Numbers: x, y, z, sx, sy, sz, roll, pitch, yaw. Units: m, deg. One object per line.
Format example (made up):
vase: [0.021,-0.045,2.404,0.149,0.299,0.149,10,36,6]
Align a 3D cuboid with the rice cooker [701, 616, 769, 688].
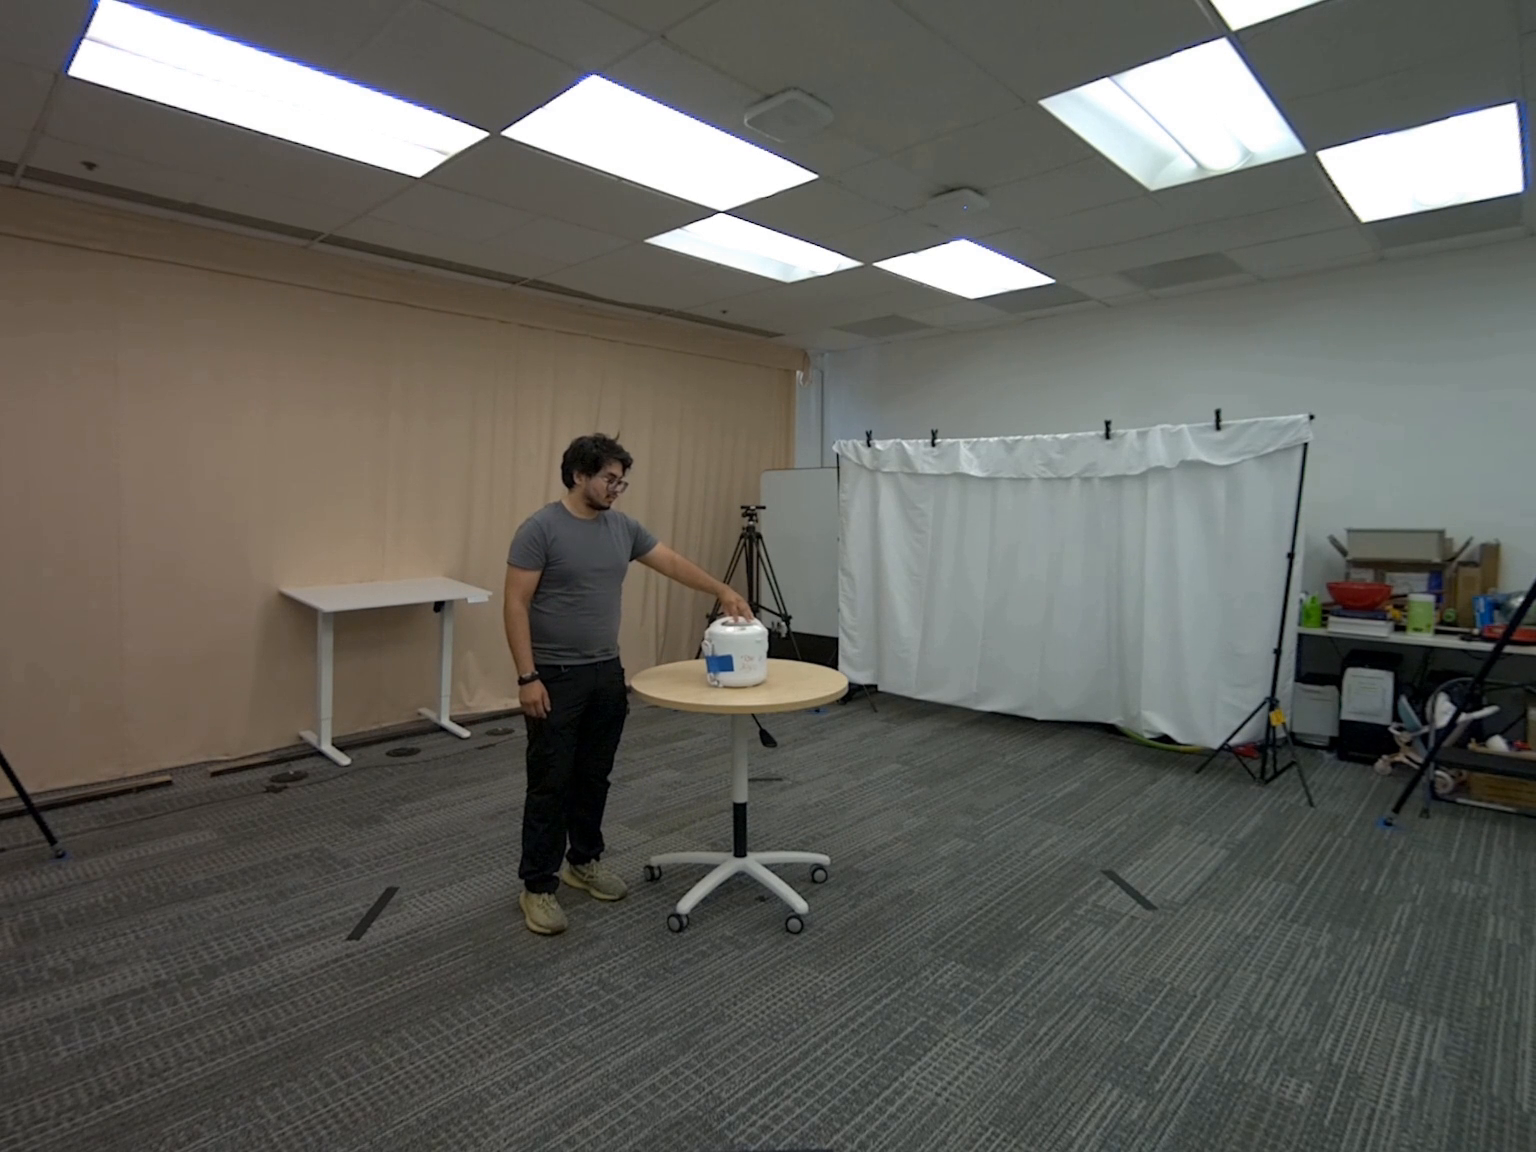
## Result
rice cooker: [-0.108,0.253,2.903,0.222,0.232,0.217,1,4,4]
